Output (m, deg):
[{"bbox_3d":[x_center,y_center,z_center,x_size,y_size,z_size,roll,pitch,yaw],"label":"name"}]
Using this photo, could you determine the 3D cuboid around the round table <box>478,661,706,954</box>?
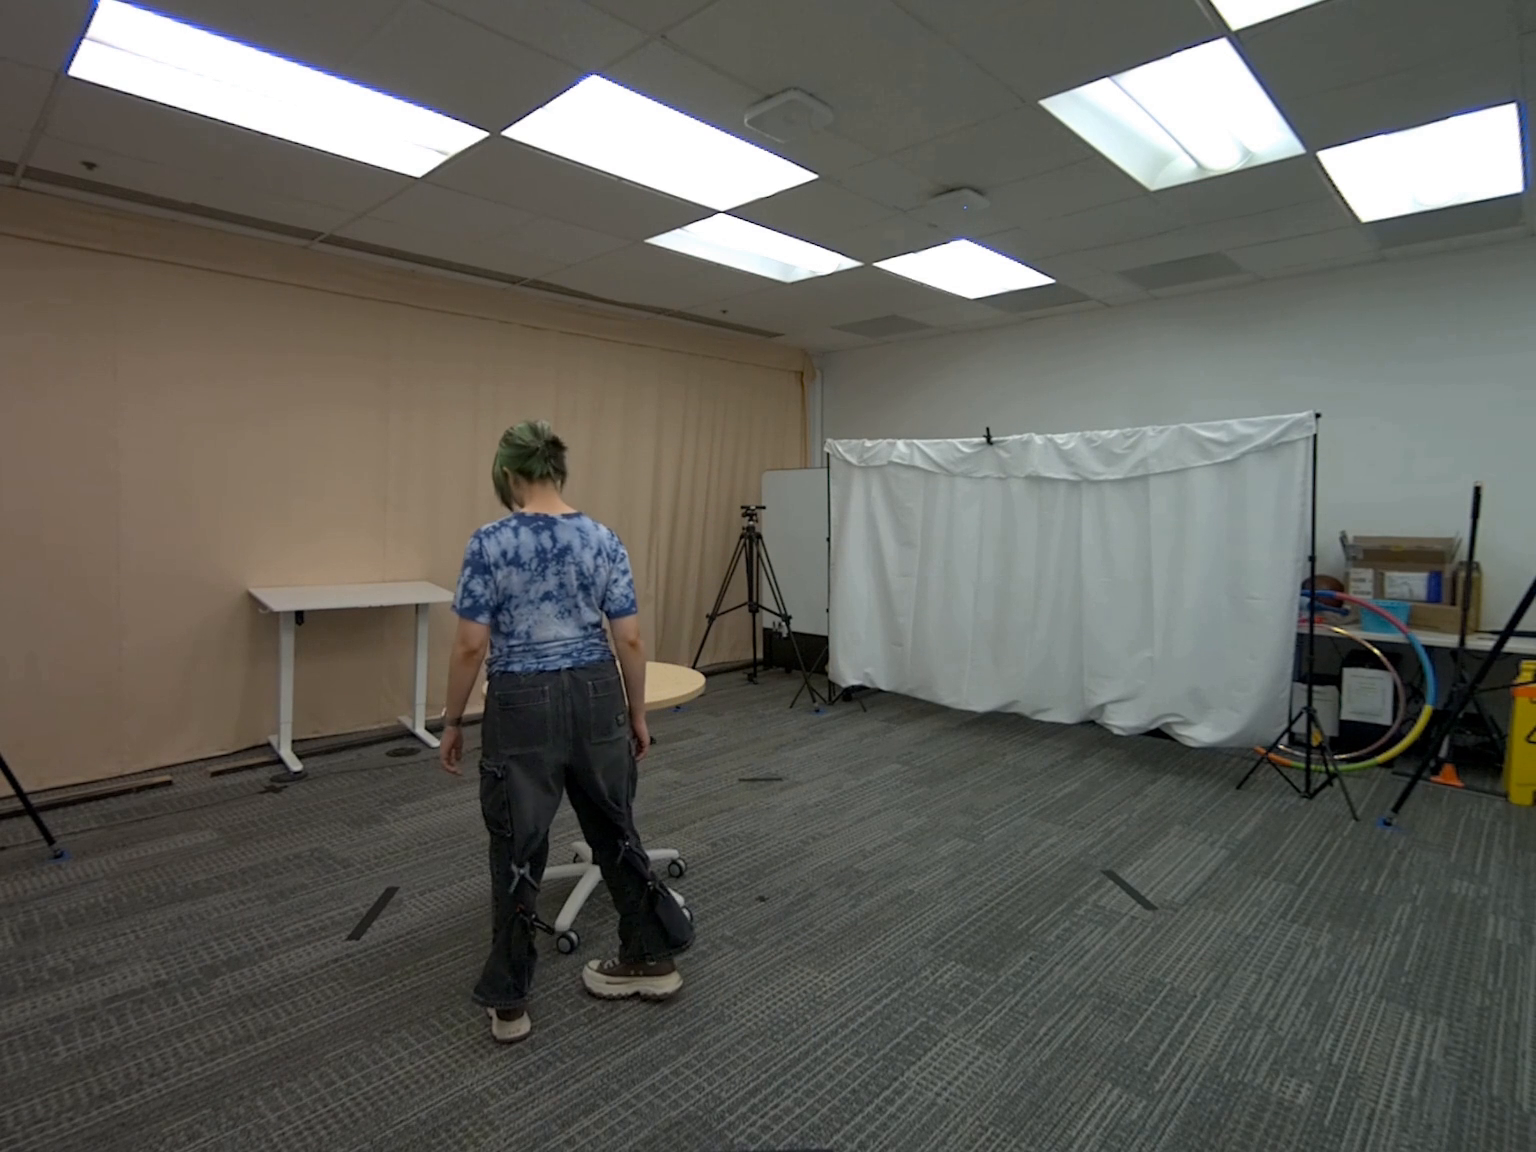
[{"bbox_3d":[-0.596,0.762,2.947,0.763,0.792,0.766,-1,4,-2],"label":"round table"}]
